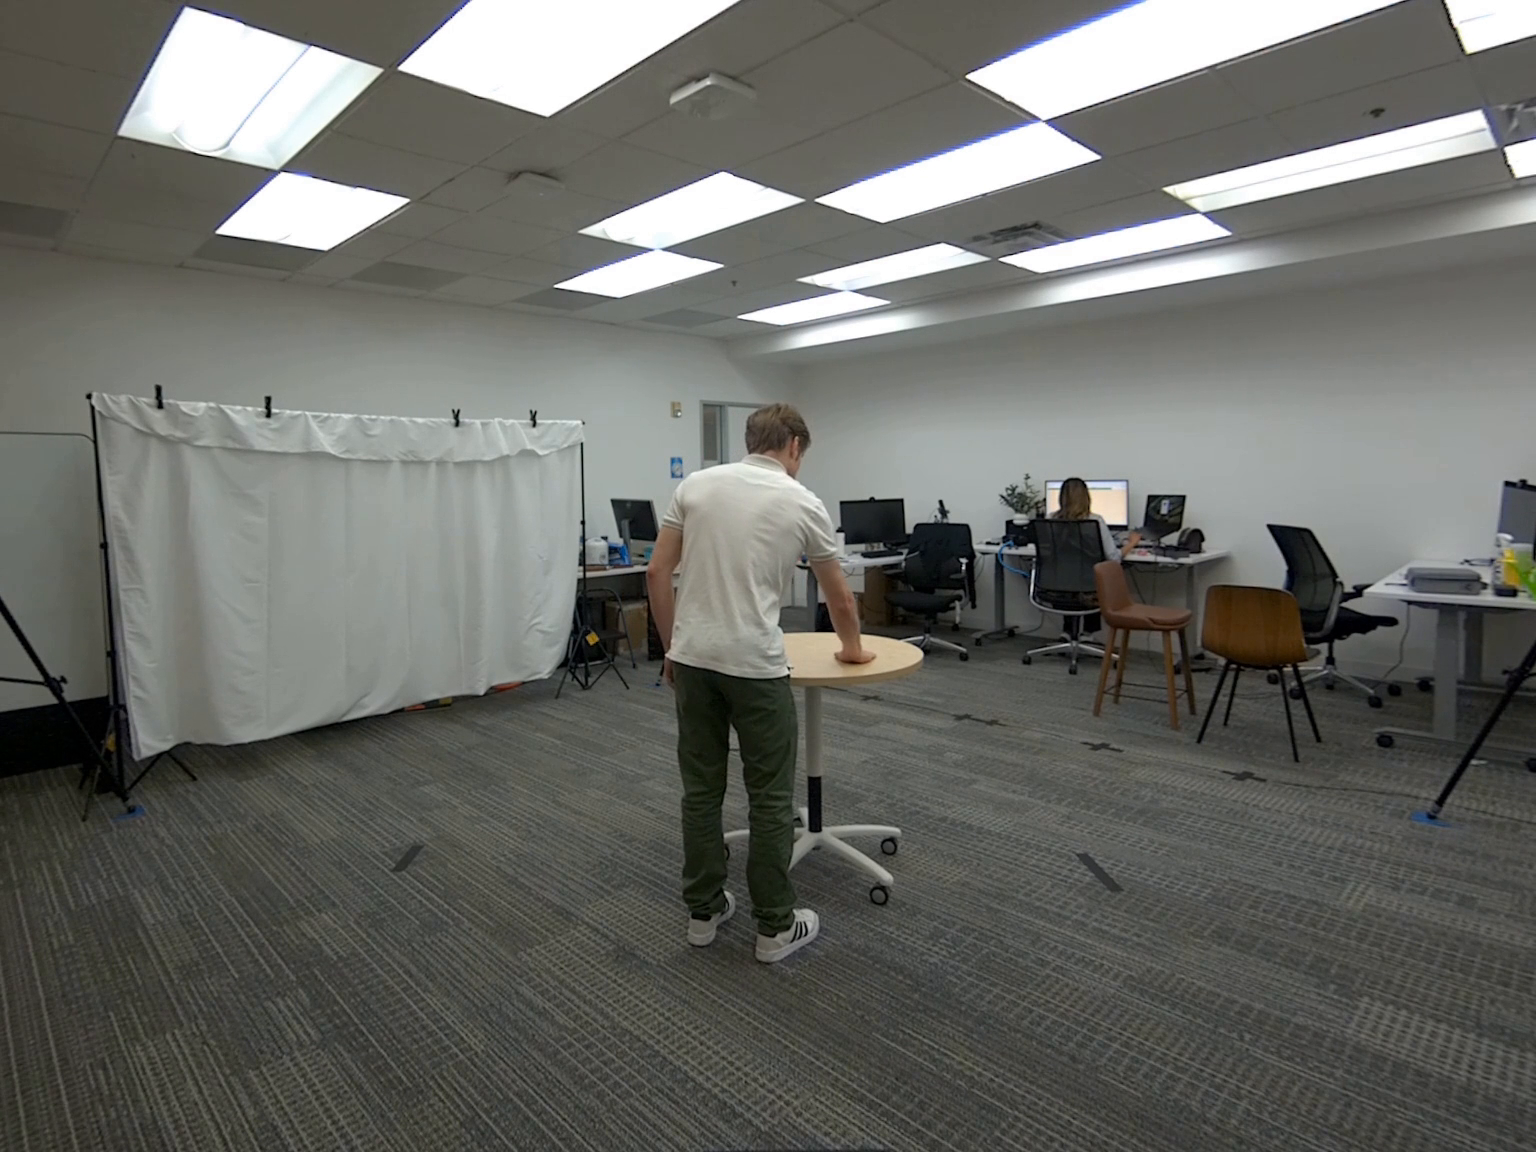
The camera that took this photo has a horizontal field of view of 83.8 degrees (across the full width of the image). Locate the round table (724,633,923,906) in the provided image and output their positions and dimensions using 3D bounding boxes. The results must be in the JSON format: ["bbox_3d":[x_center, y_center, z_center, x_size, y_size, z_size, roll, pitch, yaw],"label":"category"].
[{"bbox_3d":[0.182,0.655,3.046,0.784,0.783,0.789,-2,5,-2],"label":"round table"}]
